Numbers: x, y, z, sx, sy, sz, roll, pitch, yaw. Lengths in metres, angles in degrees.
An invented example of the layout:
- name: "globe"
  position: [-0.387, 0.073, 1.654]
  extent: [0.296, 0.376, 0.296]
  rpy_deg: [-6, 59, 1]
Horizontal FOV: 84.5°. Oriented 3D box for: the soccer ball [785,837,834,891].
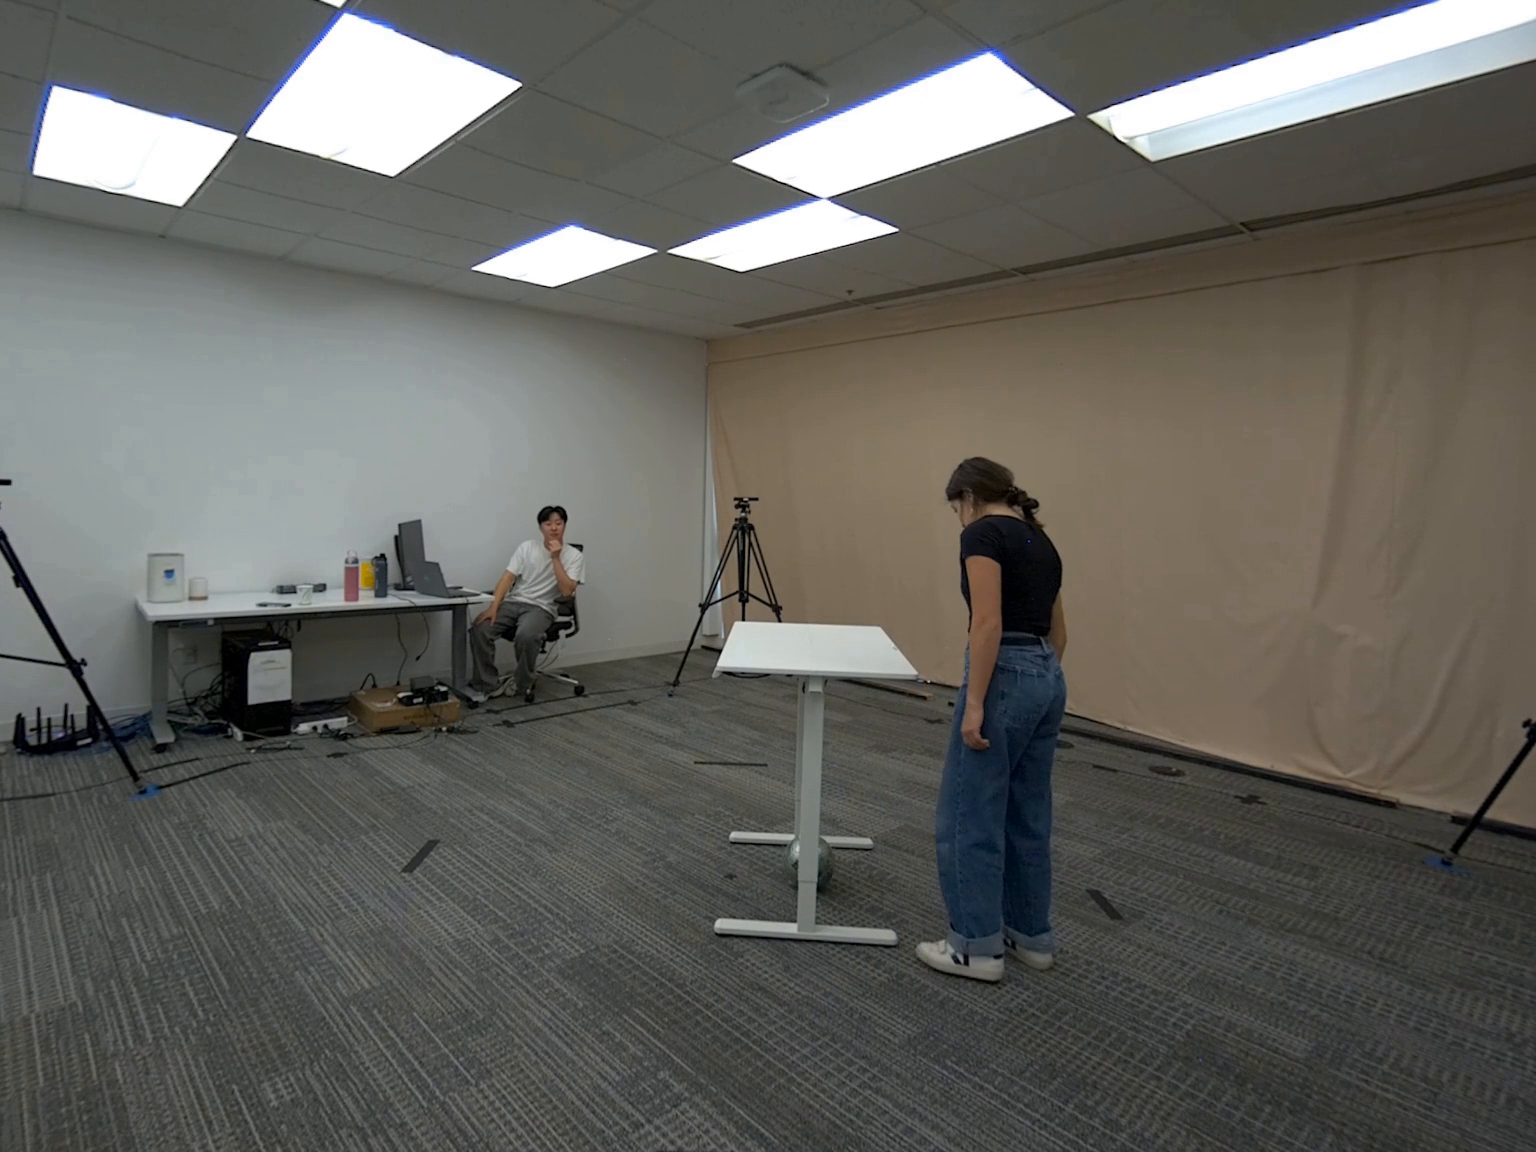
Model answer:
- name: "soccer ball"
  position: [0.142, 1.033, 3.023]
  extent: [0.187, 0.187, 0.188]
  rpy_deg: [1, 4, -1]
